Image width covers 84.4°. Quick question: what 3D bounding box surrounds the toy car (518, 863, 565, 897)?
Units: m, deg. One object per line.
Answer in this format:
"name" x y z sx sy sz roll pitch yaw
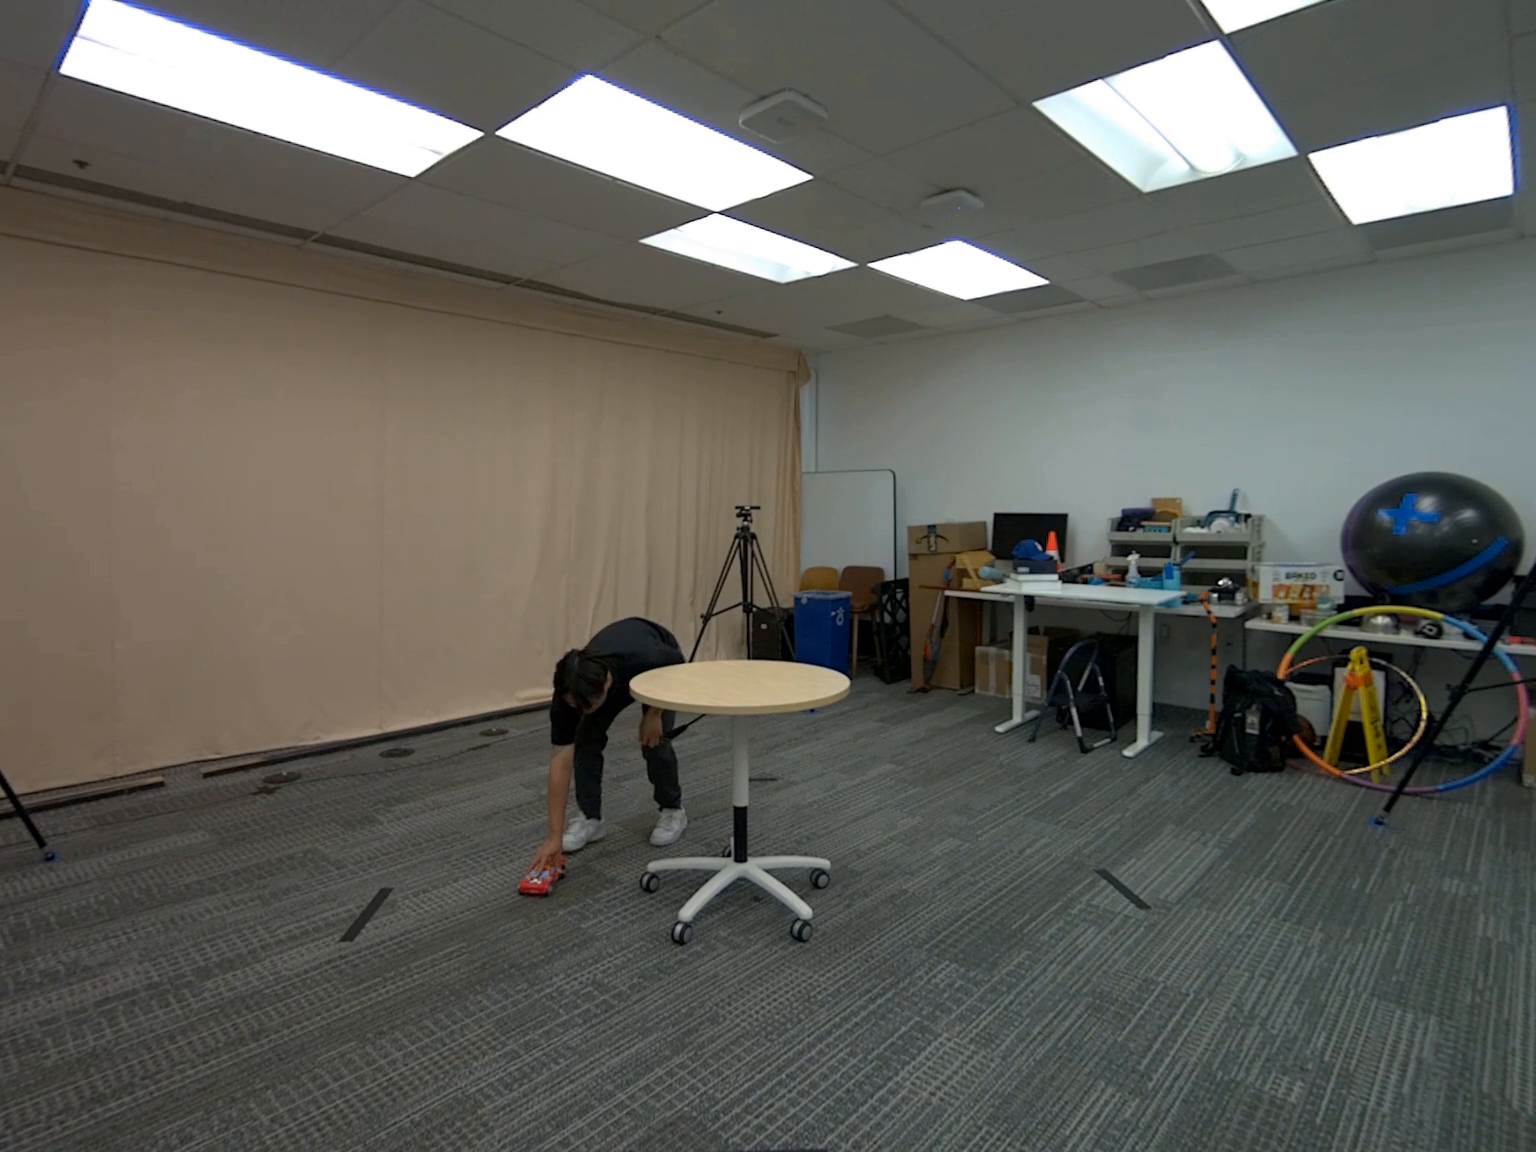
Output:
"toy car" -0.832 1.105 3.122 0.131 0.082 0.255 -1 15 6
